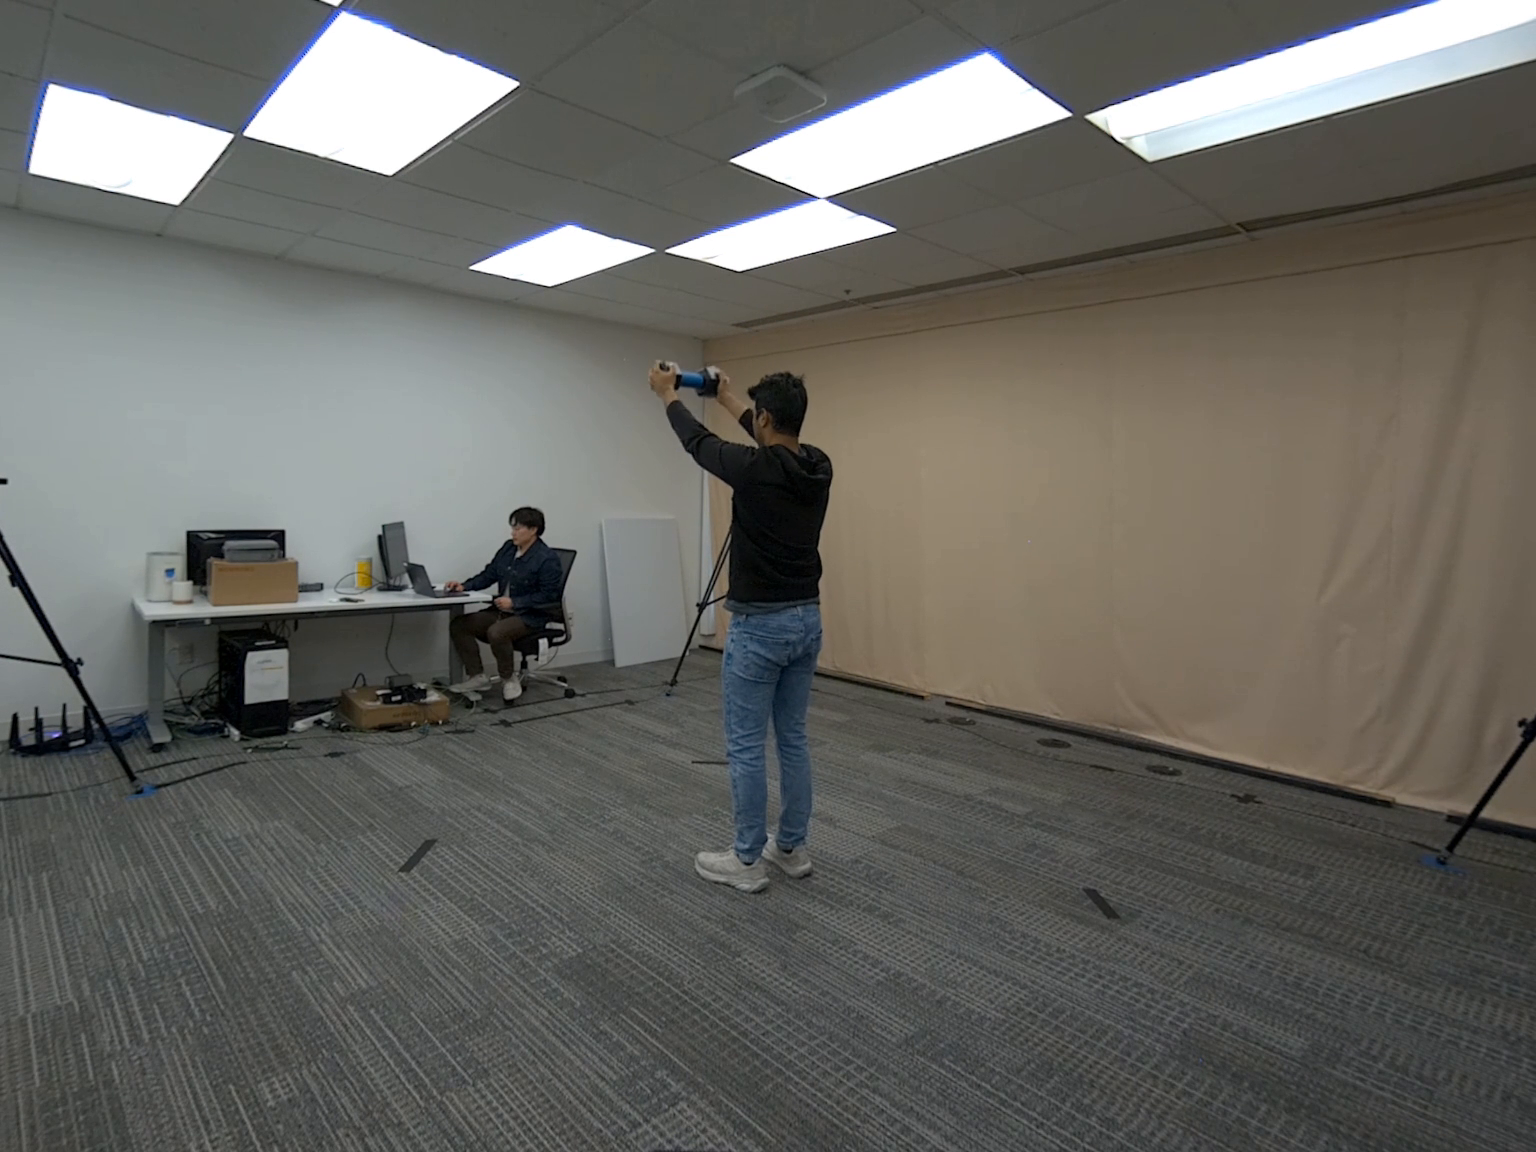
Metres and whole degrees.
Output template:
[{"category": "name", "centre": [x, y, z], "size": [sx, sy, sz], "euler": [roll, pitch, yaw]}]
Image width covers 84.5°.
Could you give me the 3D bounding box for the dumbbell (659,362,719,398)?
[{"category": "dumbbell", "centre": [-0.322, -0.775, 3.340], "size": [0.287, 0.122, 0.112], "euler": [-4, 32, -43]}]
